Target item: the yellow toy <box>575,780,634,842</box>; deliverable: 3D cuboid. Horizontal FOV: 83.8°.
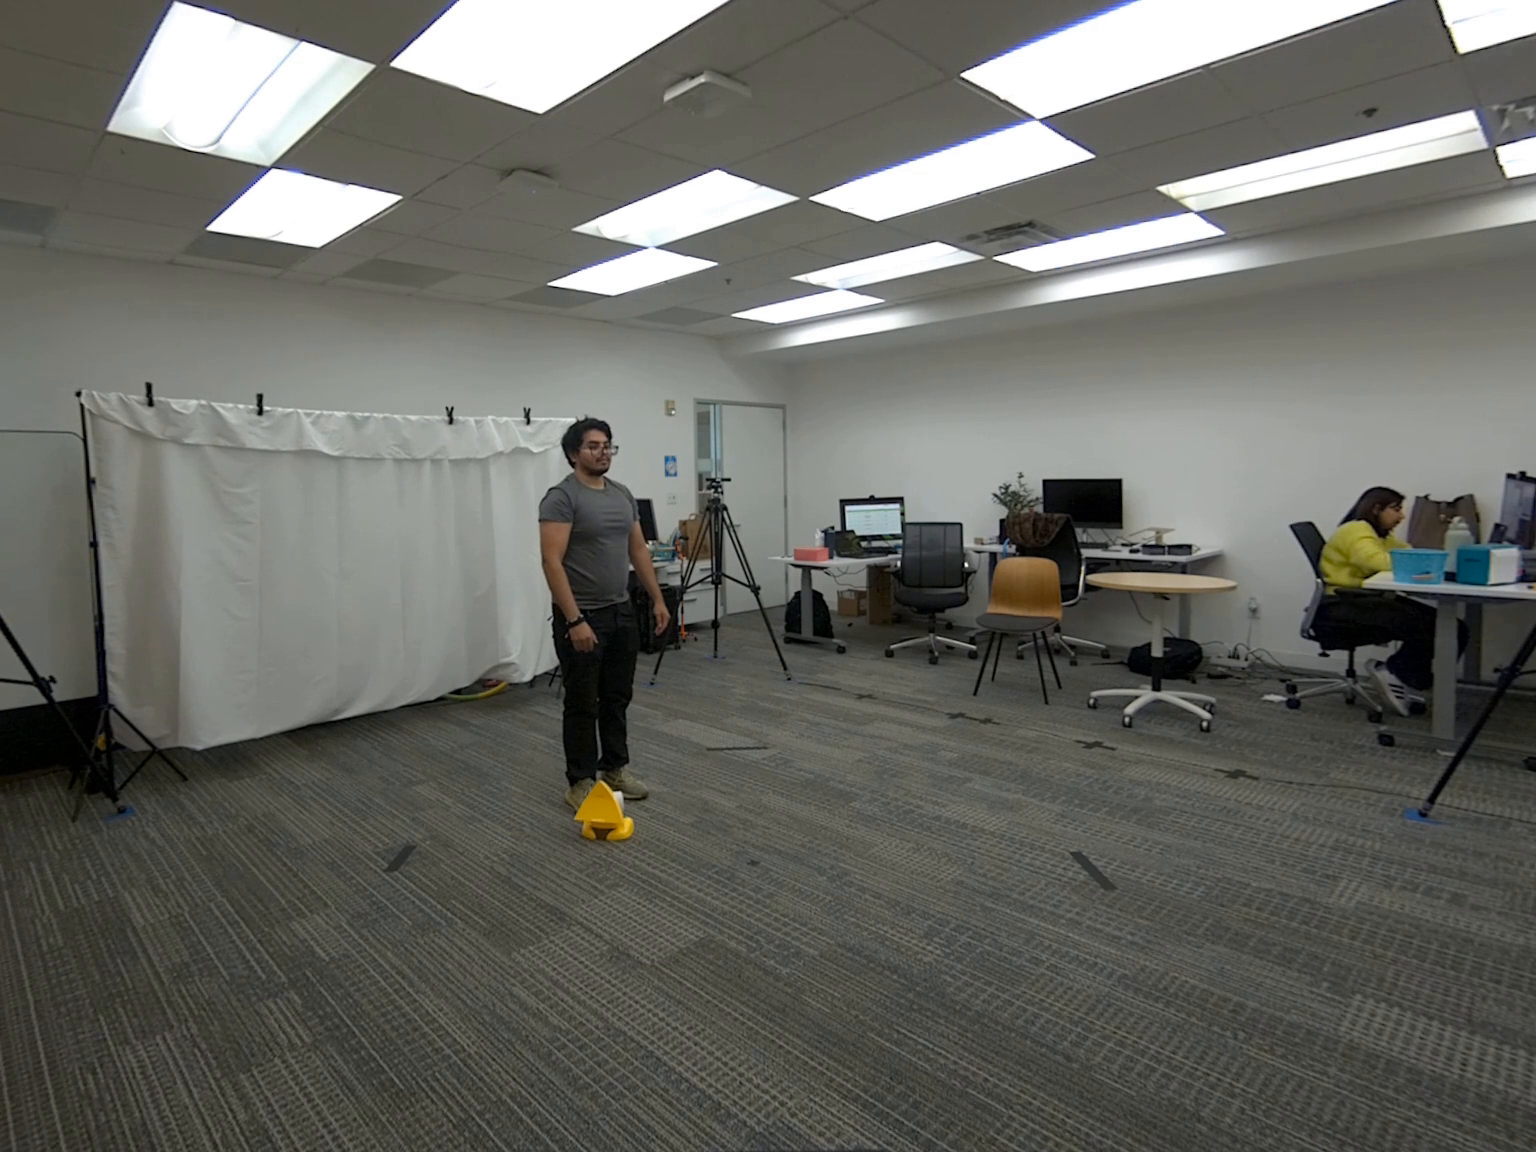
[{"bbox_3d":[-0.639,0.907,3.397,0.207,0.230,0.191,-1,4,12],"label":"yellow toy"}]
